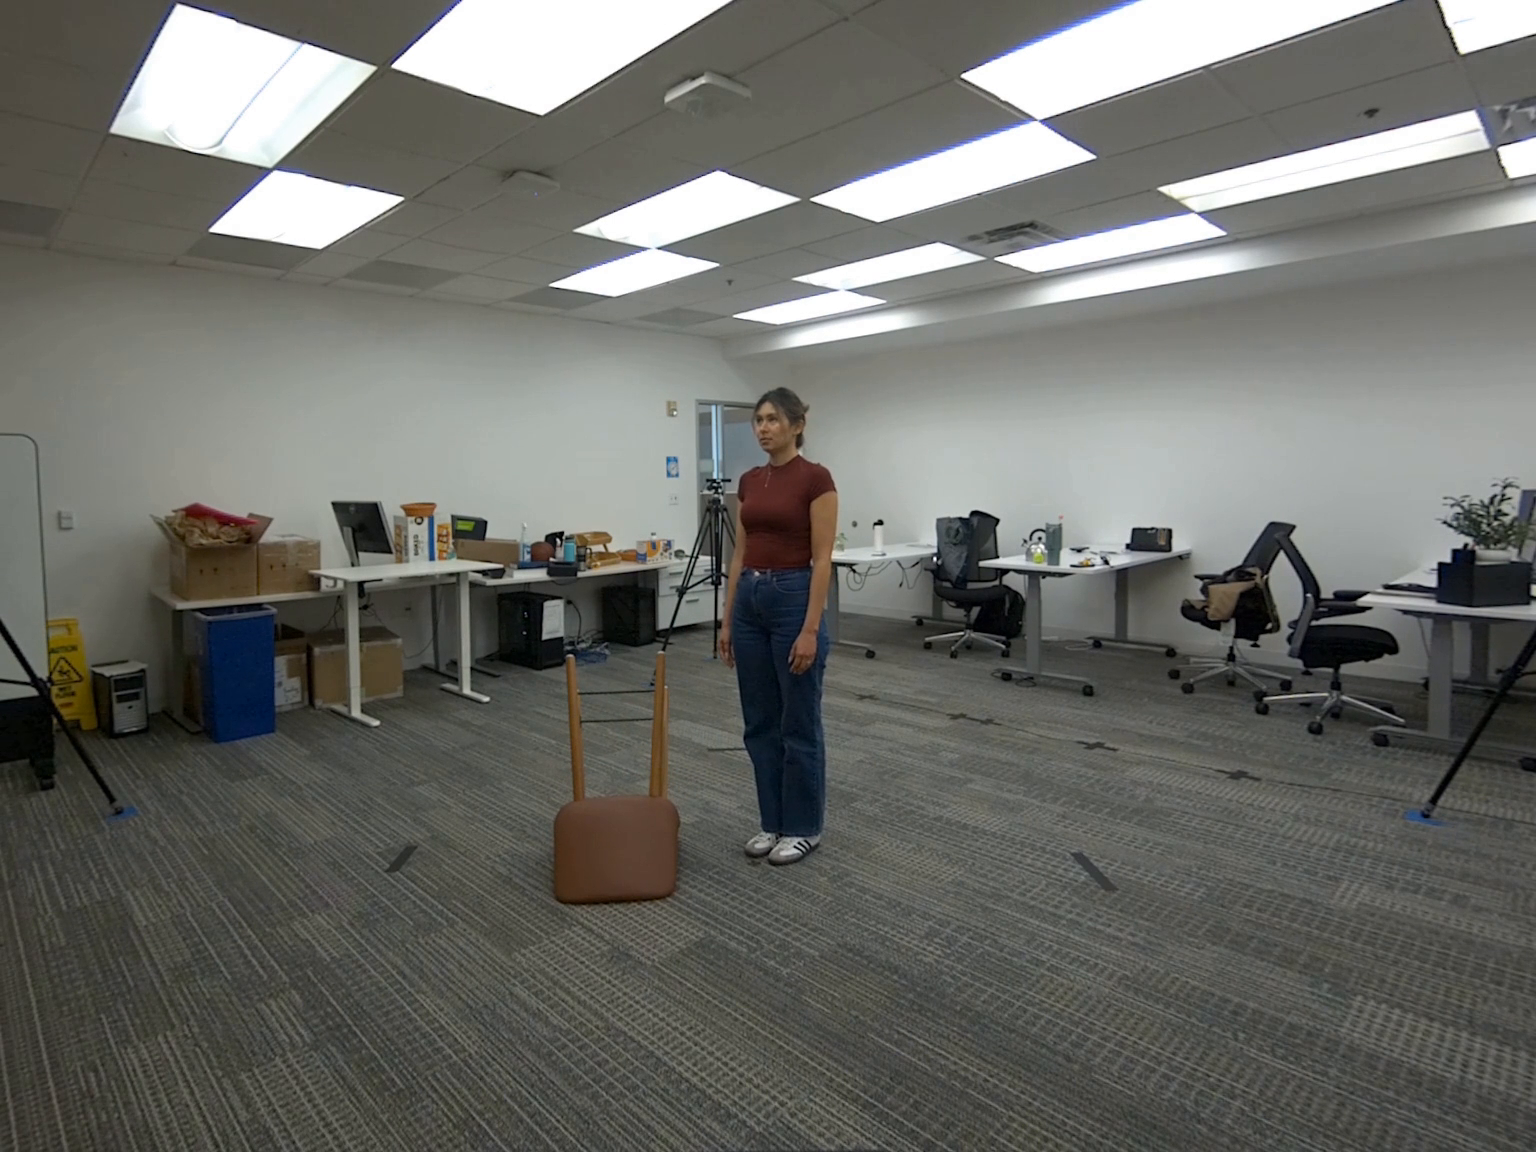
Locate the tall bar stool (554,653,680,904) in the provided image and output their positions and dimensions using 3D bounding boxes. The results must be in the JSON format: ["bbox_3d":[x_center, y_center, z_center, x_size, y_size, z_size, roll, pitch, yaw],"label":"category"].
[{"bbox_3d":[-0.566,0.785,3.240,0.454,0.913,0.458,-2,-30,-7],"label":"tall bar stool"}]
